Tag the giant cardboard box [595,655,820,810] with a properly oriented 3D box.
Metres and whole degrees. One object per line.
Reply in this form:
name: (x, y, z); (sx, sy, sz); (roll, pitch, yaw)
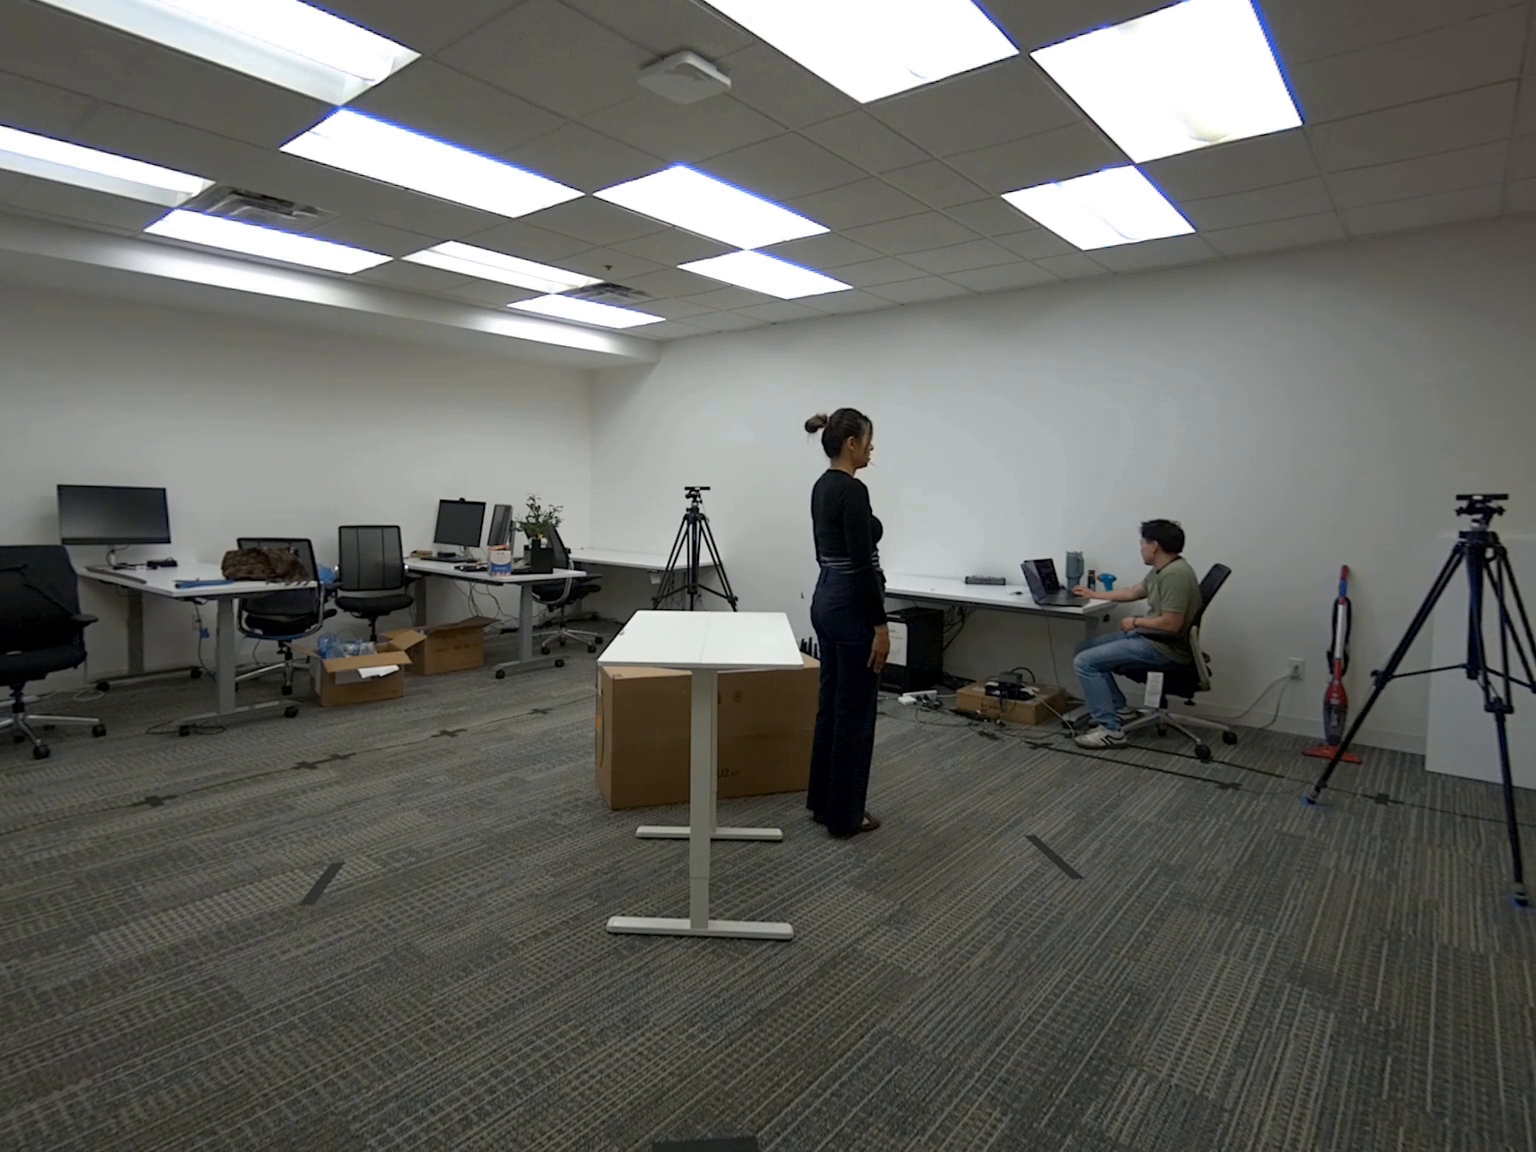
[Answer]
giant cardboard box: (-0.286, 0.684, 3.997); (1.007, 0.576, 0.435); (-1, 3, -19)
